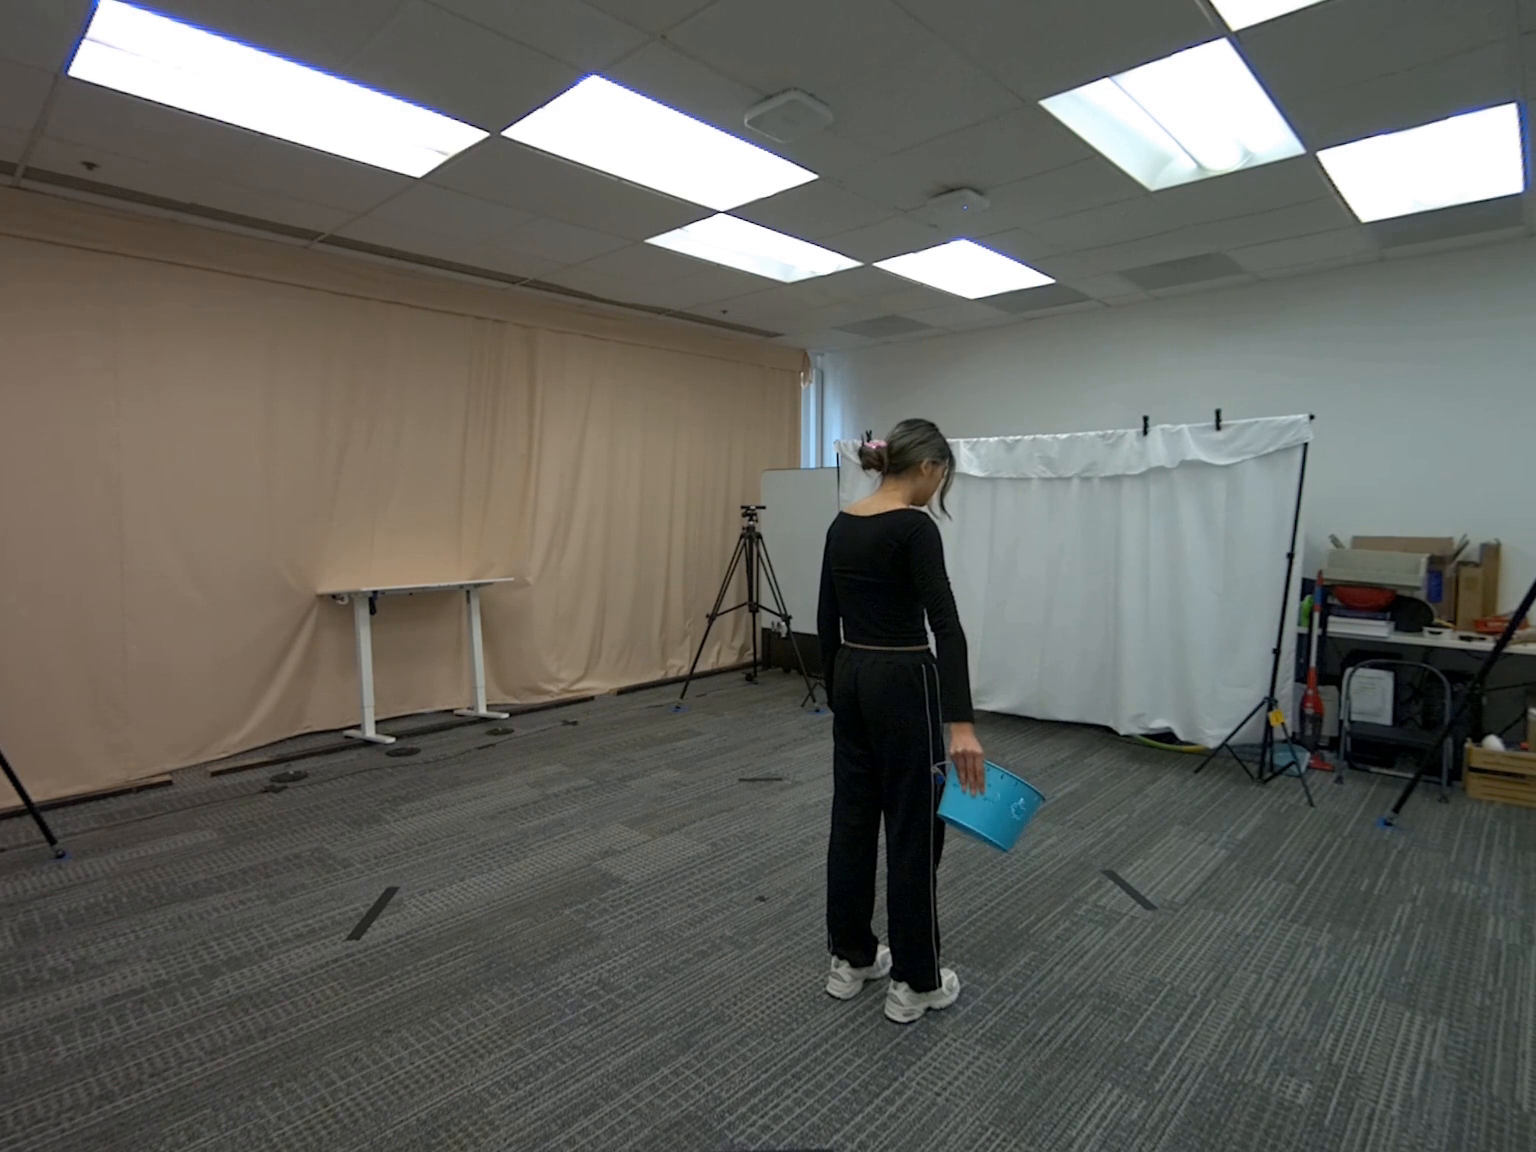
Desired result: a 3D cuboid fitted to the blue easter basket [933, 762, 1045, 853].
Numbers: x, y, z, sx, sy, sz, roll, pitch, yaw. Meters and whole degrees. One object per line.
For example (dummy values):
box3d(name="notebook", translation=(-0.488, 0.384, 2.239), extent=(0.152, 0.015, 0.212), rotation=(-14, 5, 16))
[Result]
box3d(name="blue easter basket", translation=(0.536, 0.546, 2.030), extent=(0.245, 0.156, 0.242), rotation=(30, -12, 5))
